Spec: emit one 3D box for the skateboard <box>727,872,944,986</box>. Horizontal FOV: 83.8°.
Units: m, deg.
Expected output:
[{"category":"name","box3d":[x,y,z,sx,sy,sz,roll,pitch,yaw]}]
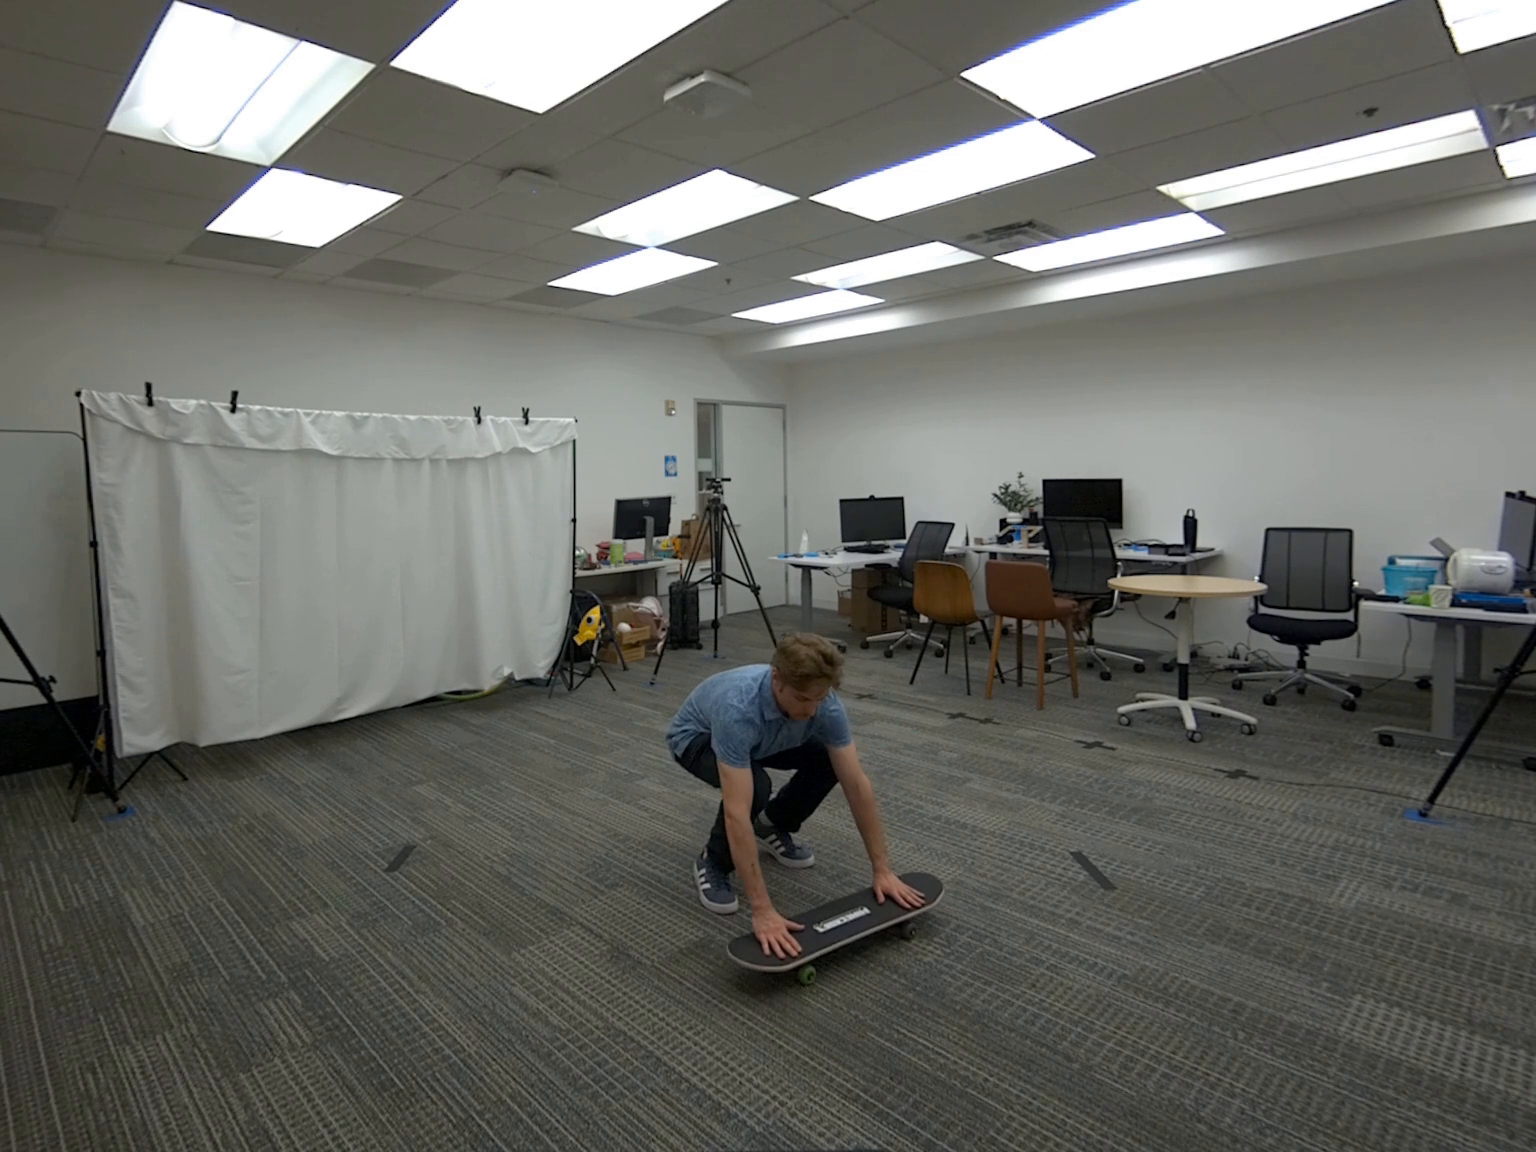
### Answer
[{"category":"skateboard","box3d":[0.224,1.049,2.537,0.766,0.109,0.199,-6,10,-36]}]
